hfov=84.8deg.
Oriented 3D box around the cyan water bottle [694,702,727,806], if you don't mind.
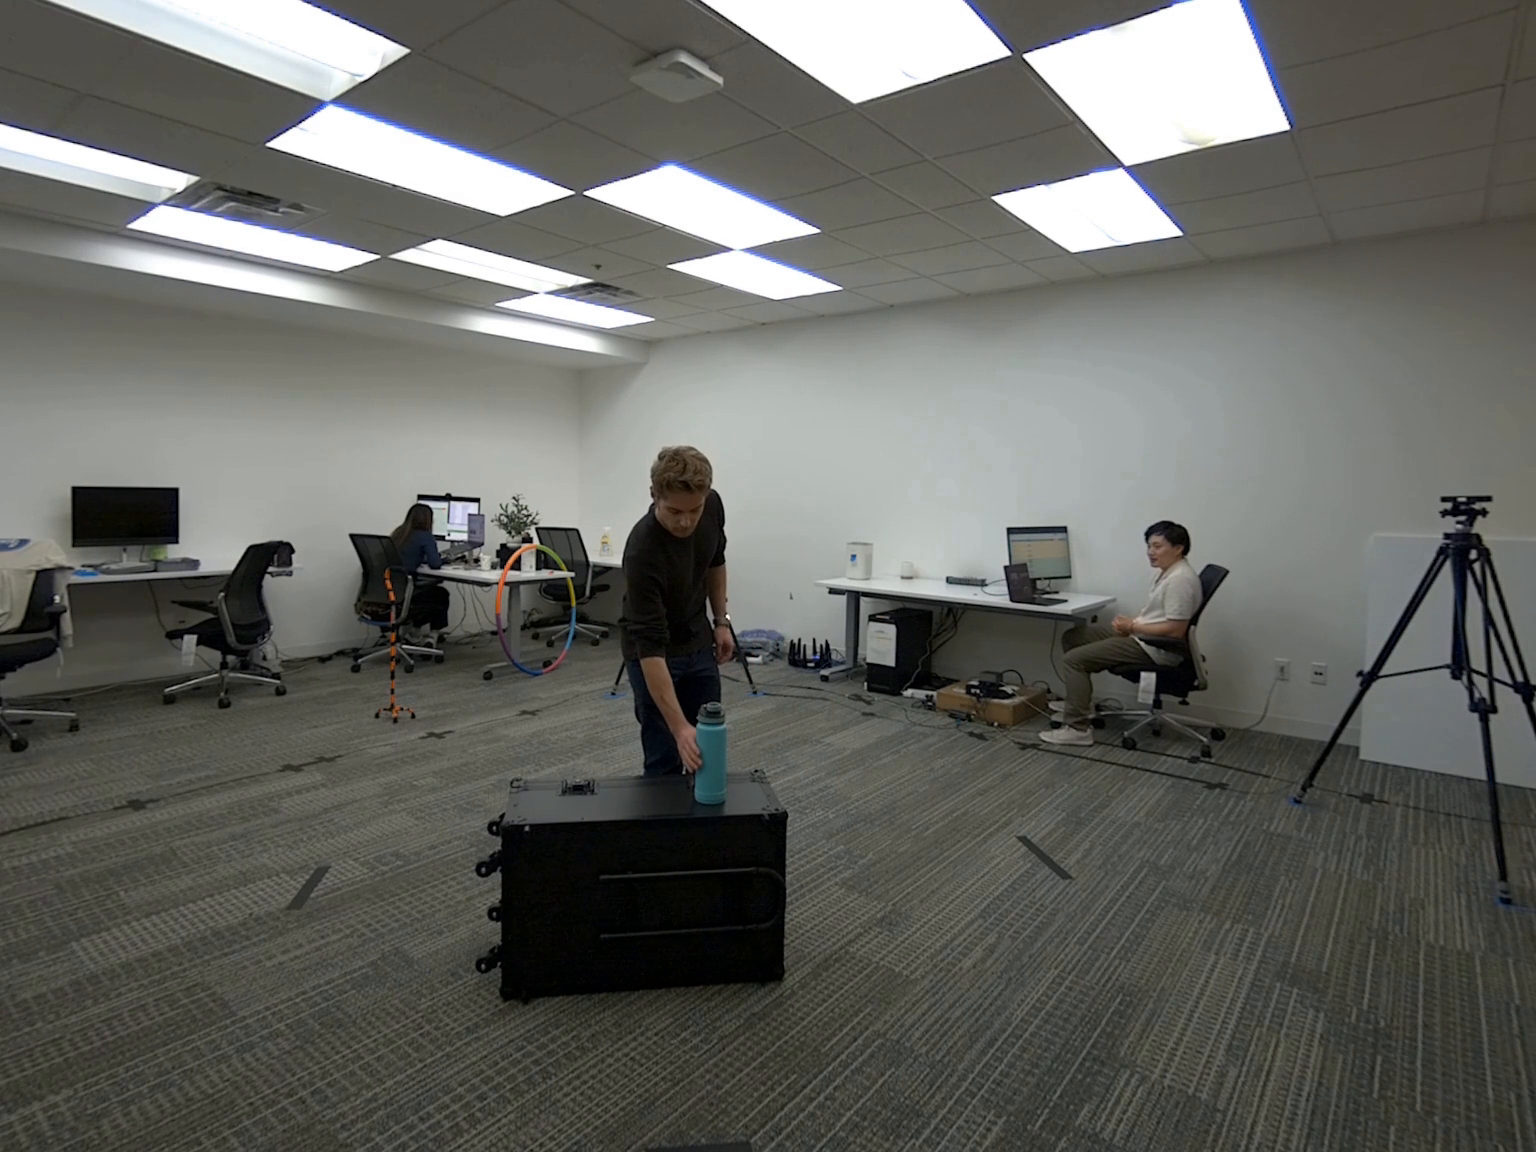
[{"bbox_3d":[-0.177,0.504,2.473,0.092,0.283,0.092,0,2,-2],"label":"cyan water bottle"}]
